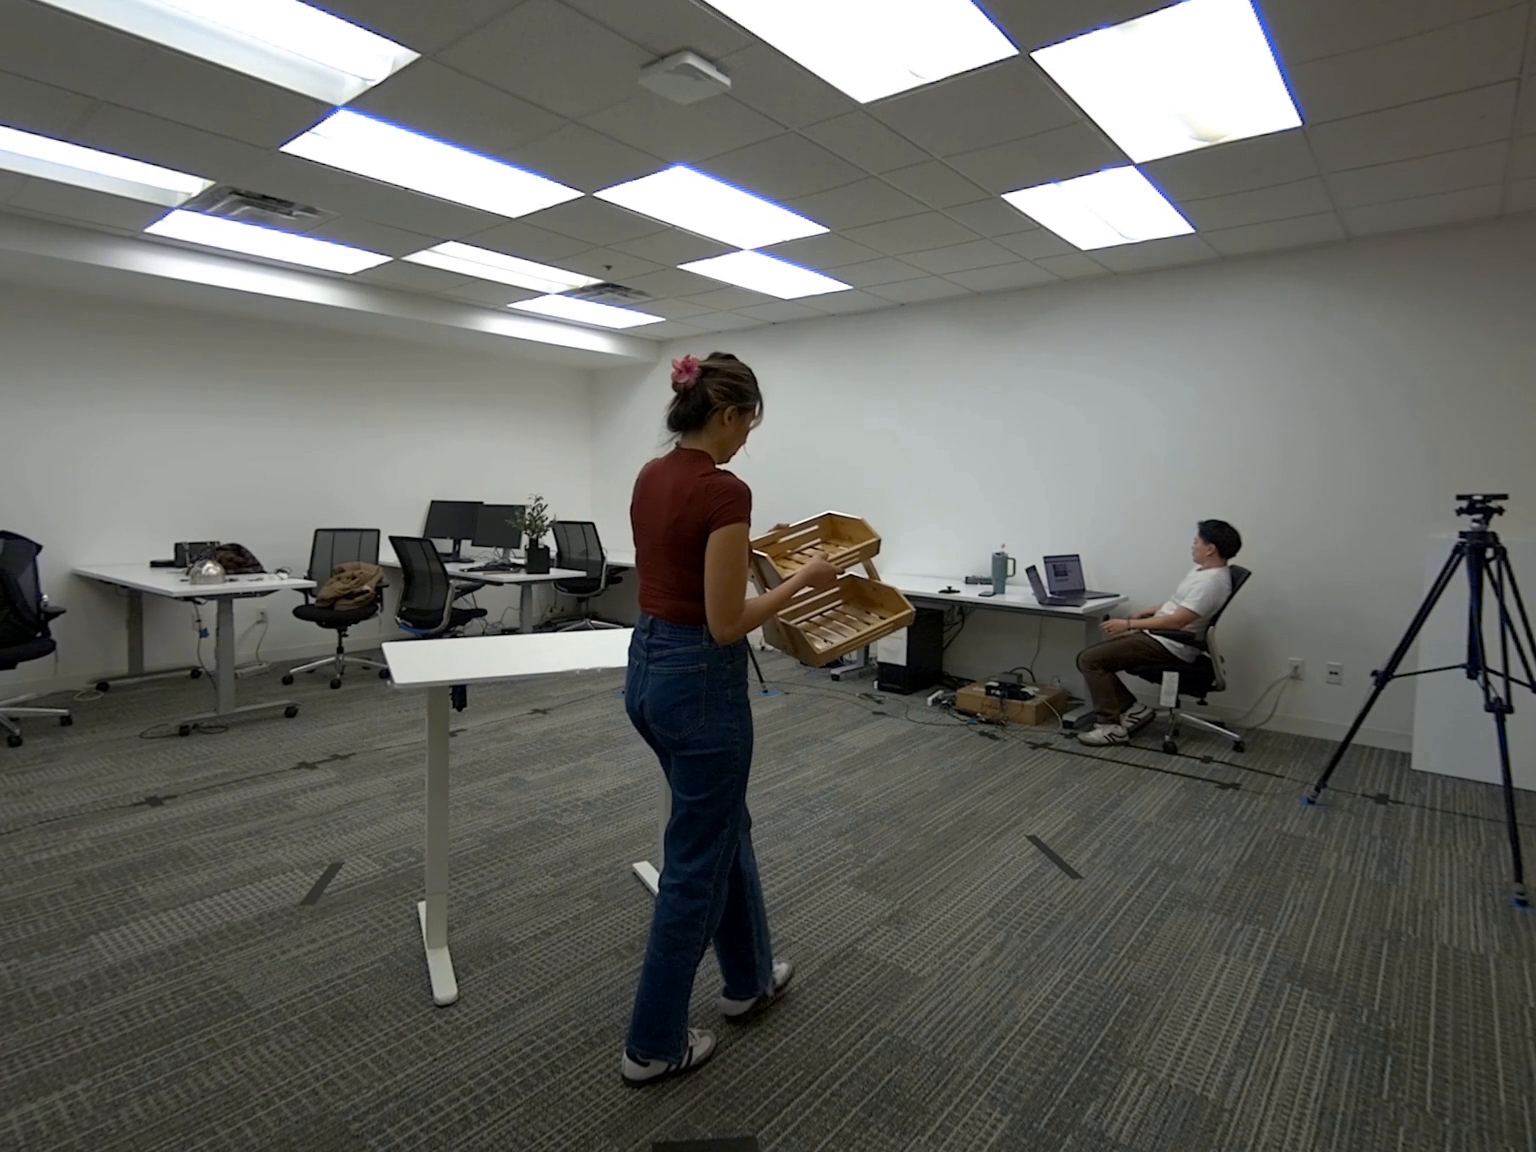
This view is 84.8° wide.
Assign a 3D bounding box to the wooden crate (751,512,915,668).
[{"bbox_3d":[0.141,0.020,2.130,0.319,0.268,0.312,-21,20,-25],"label":"wooden crate"}]
